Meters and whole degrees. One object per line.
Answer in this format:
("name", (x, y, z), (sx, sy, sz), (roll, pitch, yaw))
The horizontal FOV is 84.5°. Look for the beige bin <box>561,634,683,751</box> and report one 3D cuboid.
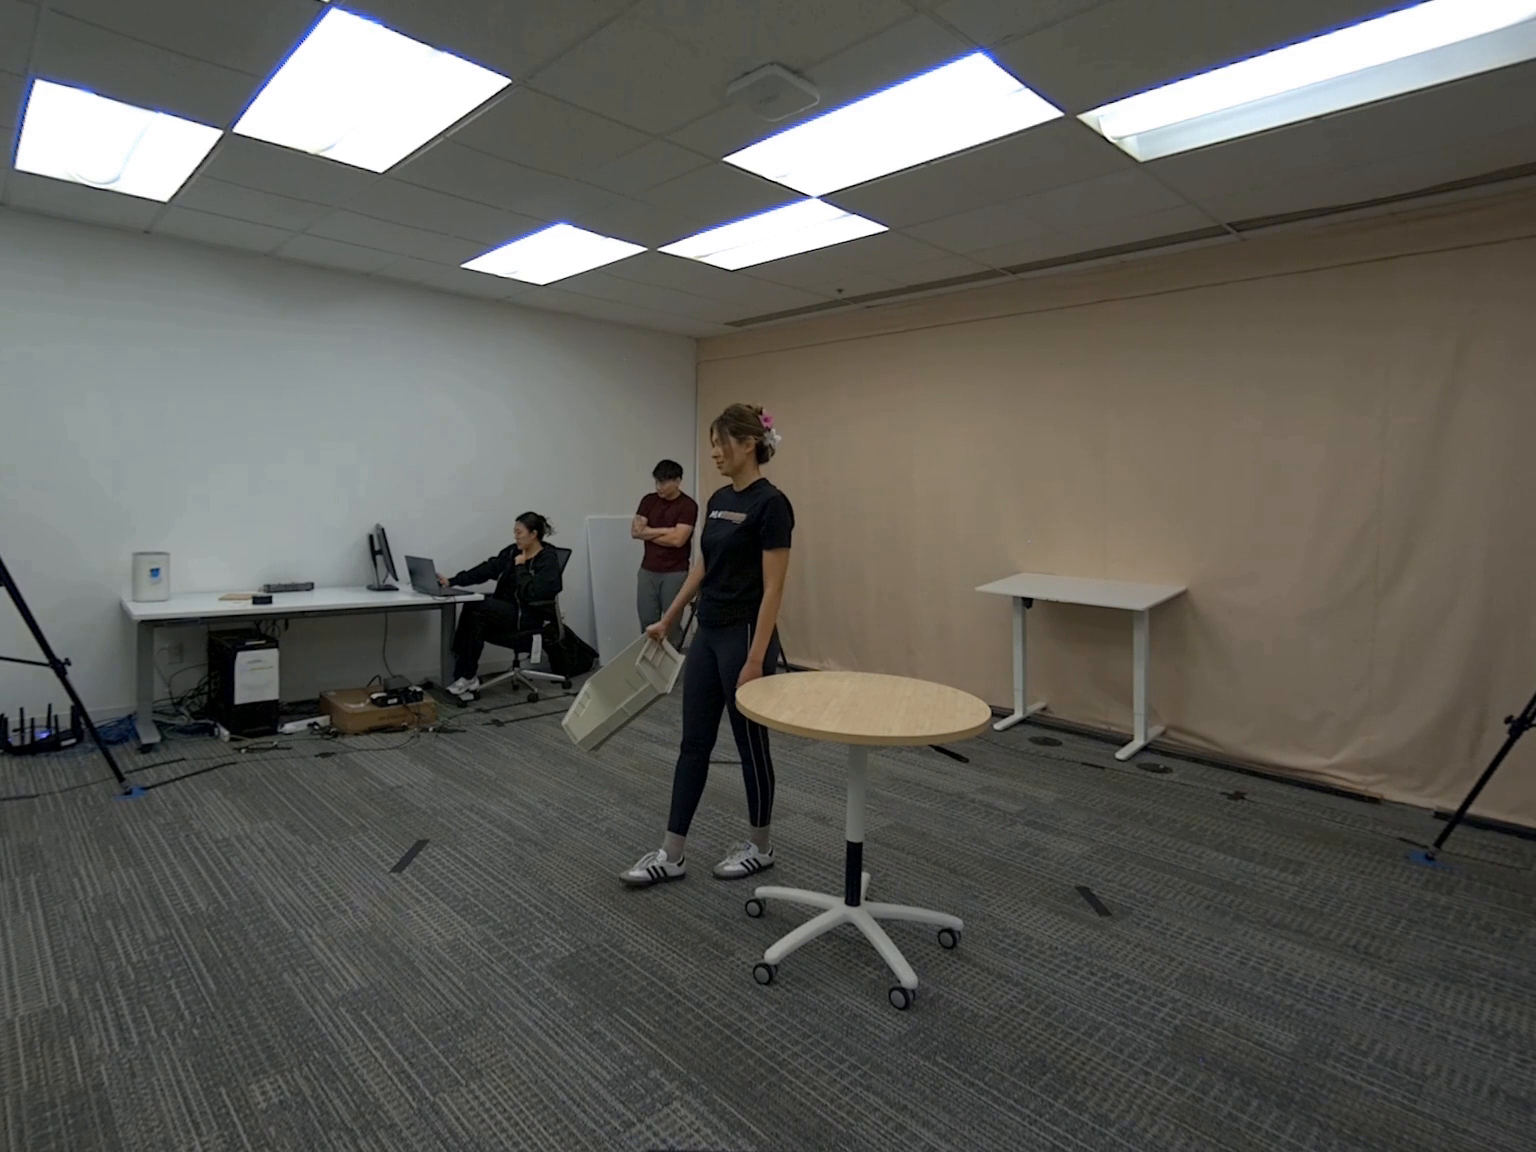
("beige bin", (-0.571, 0.448, 3.304), (0.423, 0.187, 0.380), (-40, 11, 17))
